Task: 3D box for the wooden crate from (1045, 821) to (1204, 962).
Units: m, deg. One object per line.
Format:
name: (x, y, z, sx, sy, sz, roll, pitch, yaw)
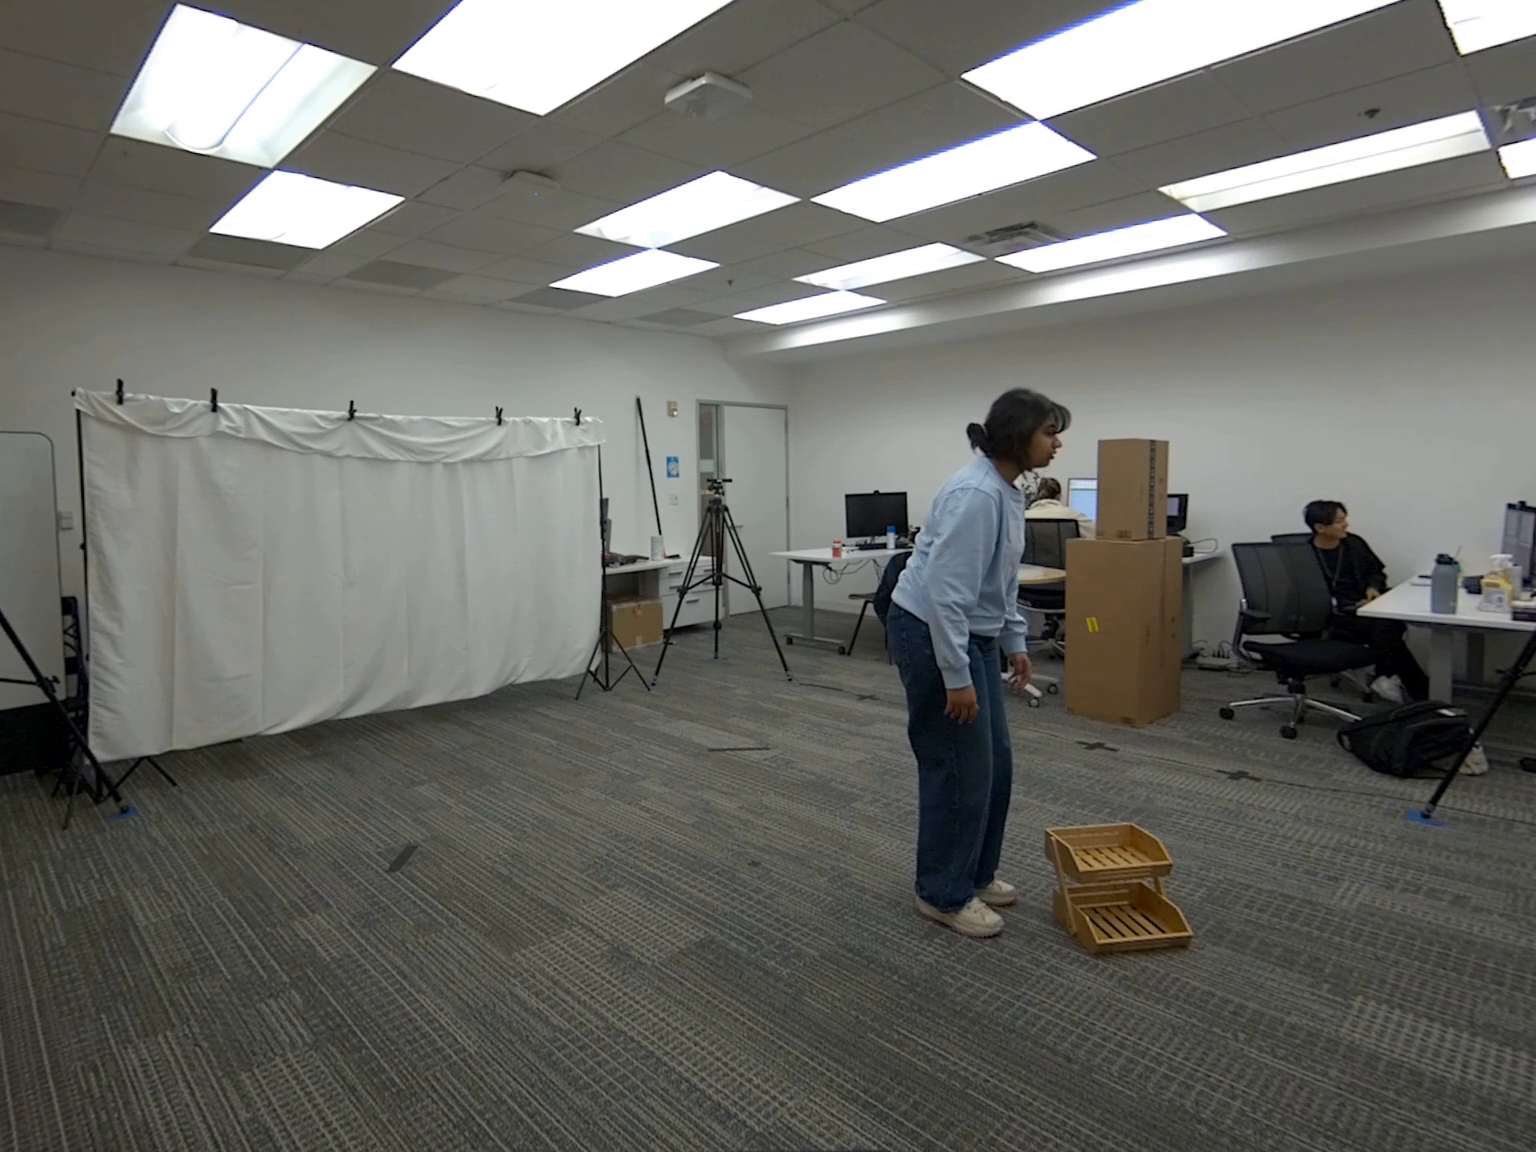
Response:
wooden crate: (1.072, 0.944, 2.605, 0.322, 0.272, 0.305, -1, 4, -8)
